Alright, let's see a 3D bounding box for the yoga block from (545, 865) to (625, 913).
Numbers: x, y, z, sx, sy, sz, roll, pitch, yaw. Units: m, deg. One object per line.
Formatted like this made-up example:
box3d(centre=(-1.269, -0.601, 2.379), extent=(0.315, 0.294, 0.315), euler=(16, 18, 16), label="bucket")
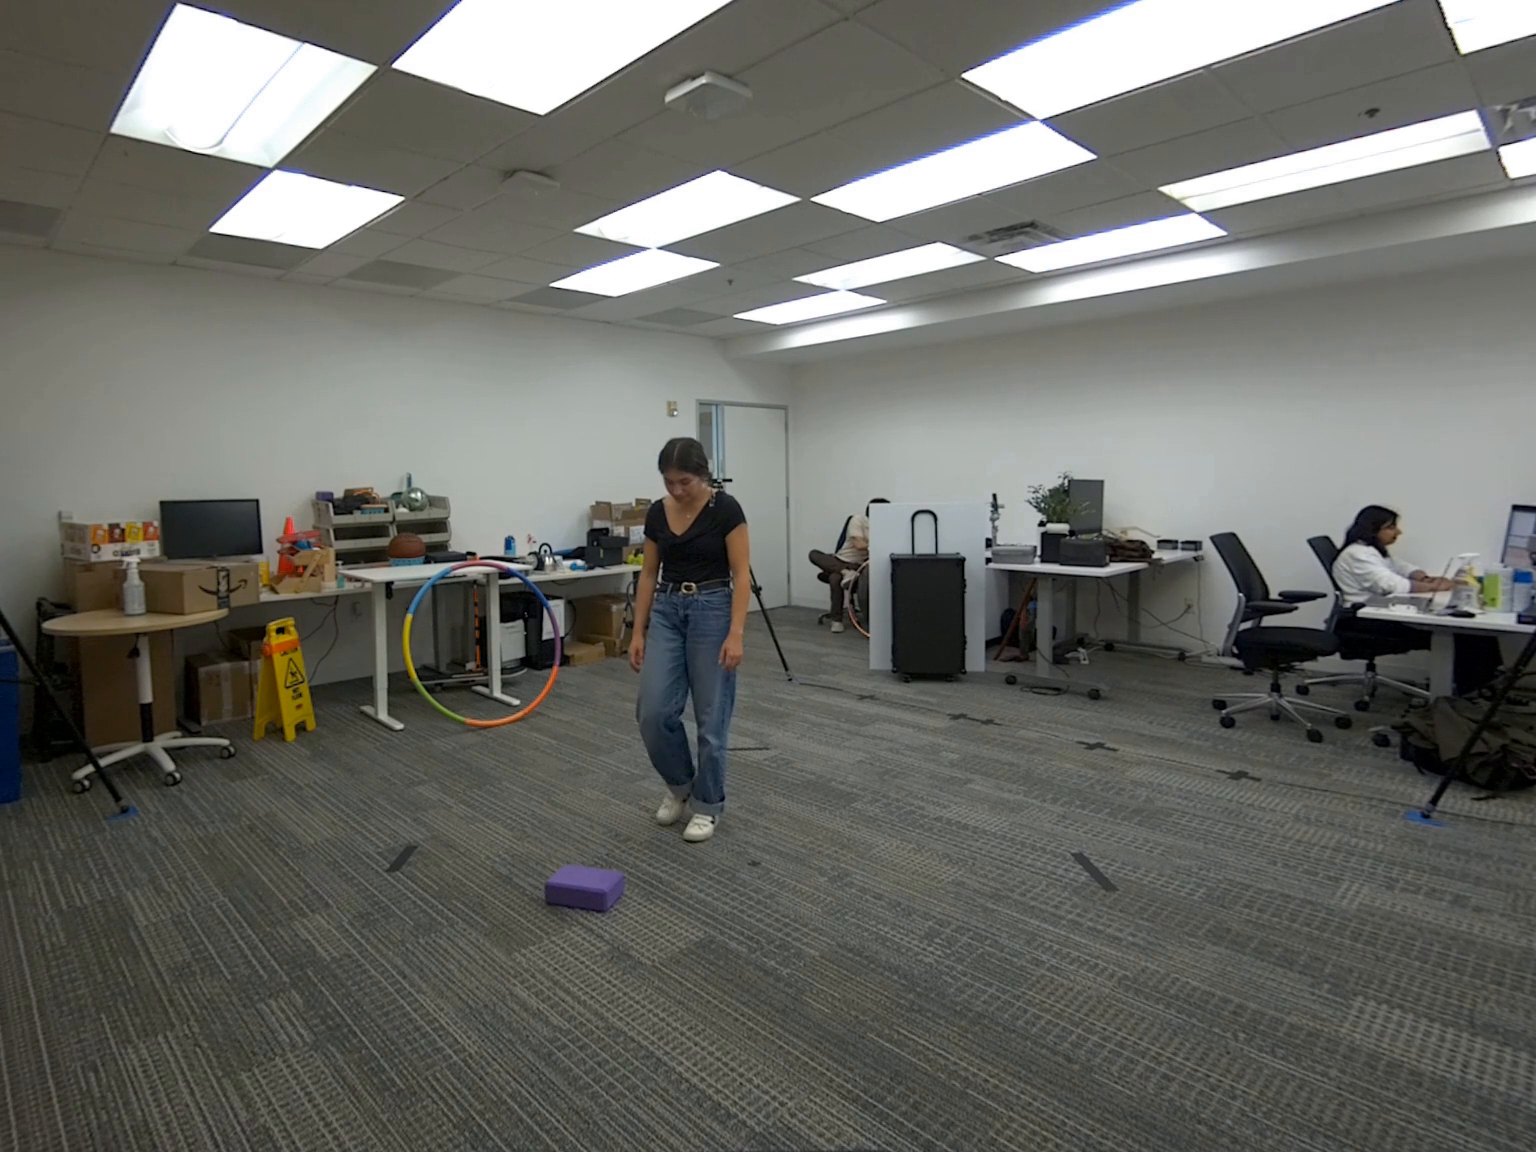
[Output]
box3d(centre=(-0.609, 1.042, 2.869), extent=(0.233, 0.076, 0.147), euler=(2, 5, 17), label="yoga block")
